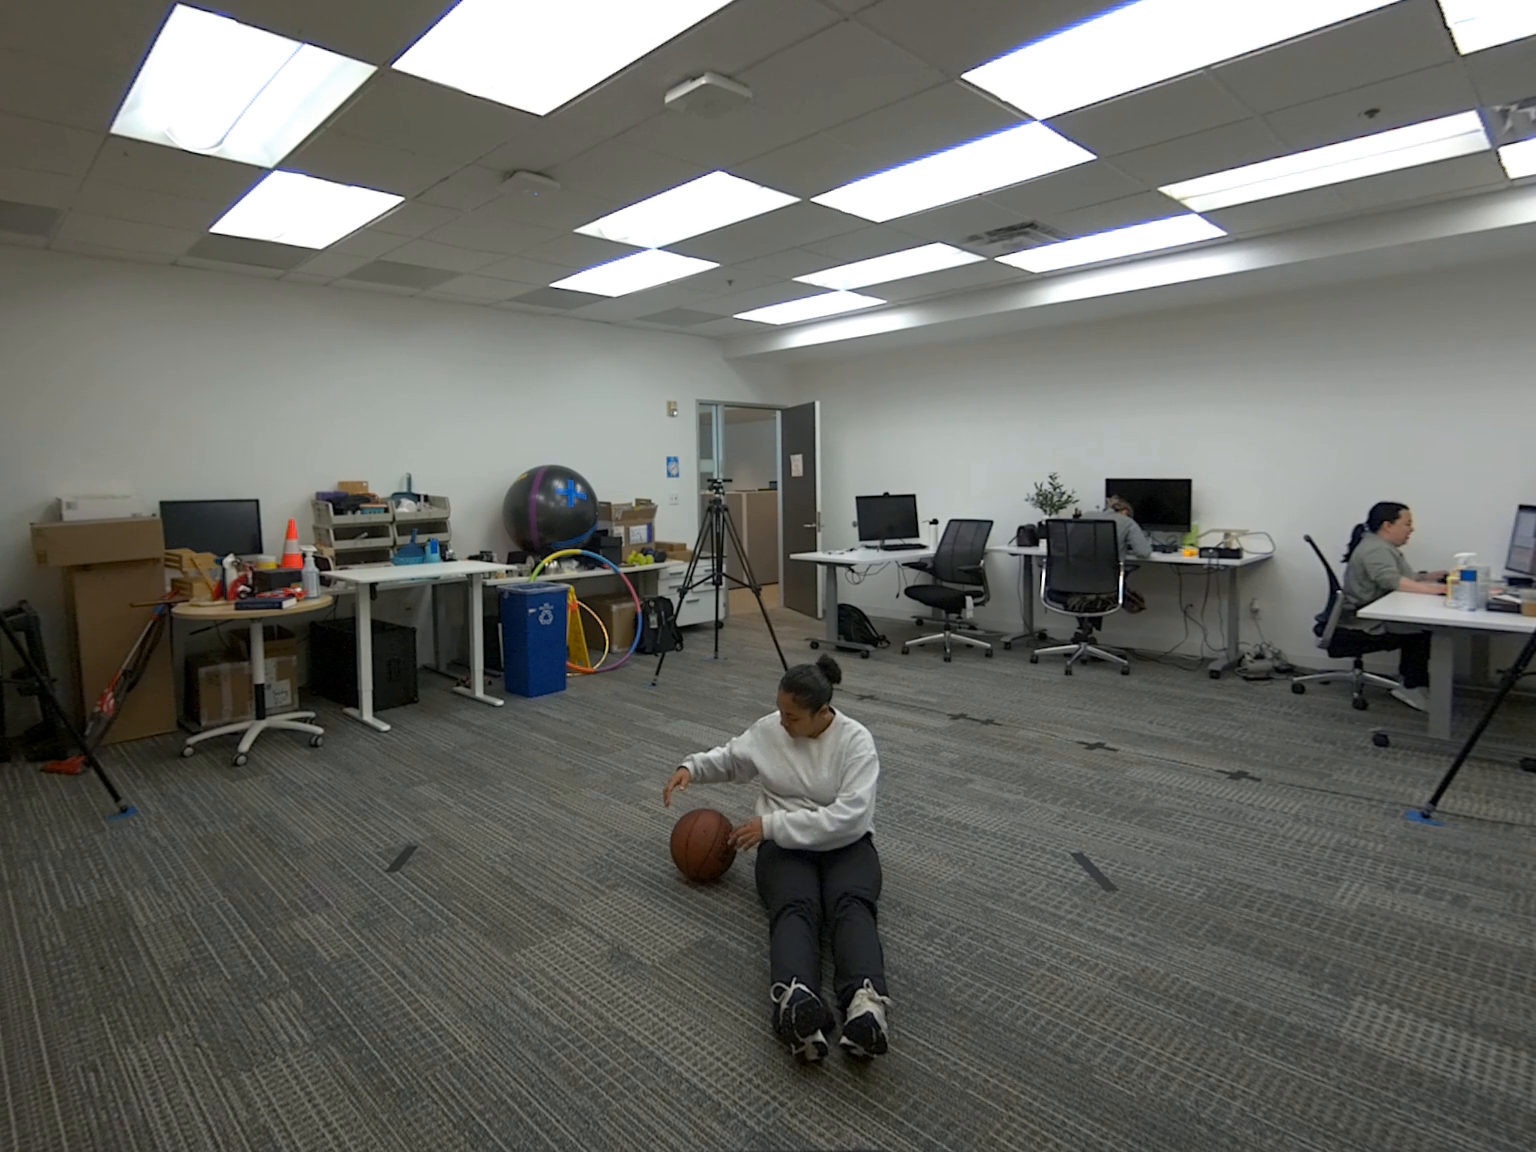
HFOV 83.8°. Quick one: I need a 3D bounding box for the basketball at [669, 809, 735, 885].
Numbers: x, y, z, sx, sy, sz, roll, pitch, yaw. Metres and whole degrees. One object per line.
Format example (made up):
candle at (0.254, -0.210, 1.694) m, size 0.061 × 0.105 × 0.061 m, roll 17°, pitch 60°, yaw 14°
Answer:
basketball at (-0.223, 0.938, 2.999) m, size 0.236 × 0.235 × 0.237 m, roll -1°, pitch 5°, yaw -2°
